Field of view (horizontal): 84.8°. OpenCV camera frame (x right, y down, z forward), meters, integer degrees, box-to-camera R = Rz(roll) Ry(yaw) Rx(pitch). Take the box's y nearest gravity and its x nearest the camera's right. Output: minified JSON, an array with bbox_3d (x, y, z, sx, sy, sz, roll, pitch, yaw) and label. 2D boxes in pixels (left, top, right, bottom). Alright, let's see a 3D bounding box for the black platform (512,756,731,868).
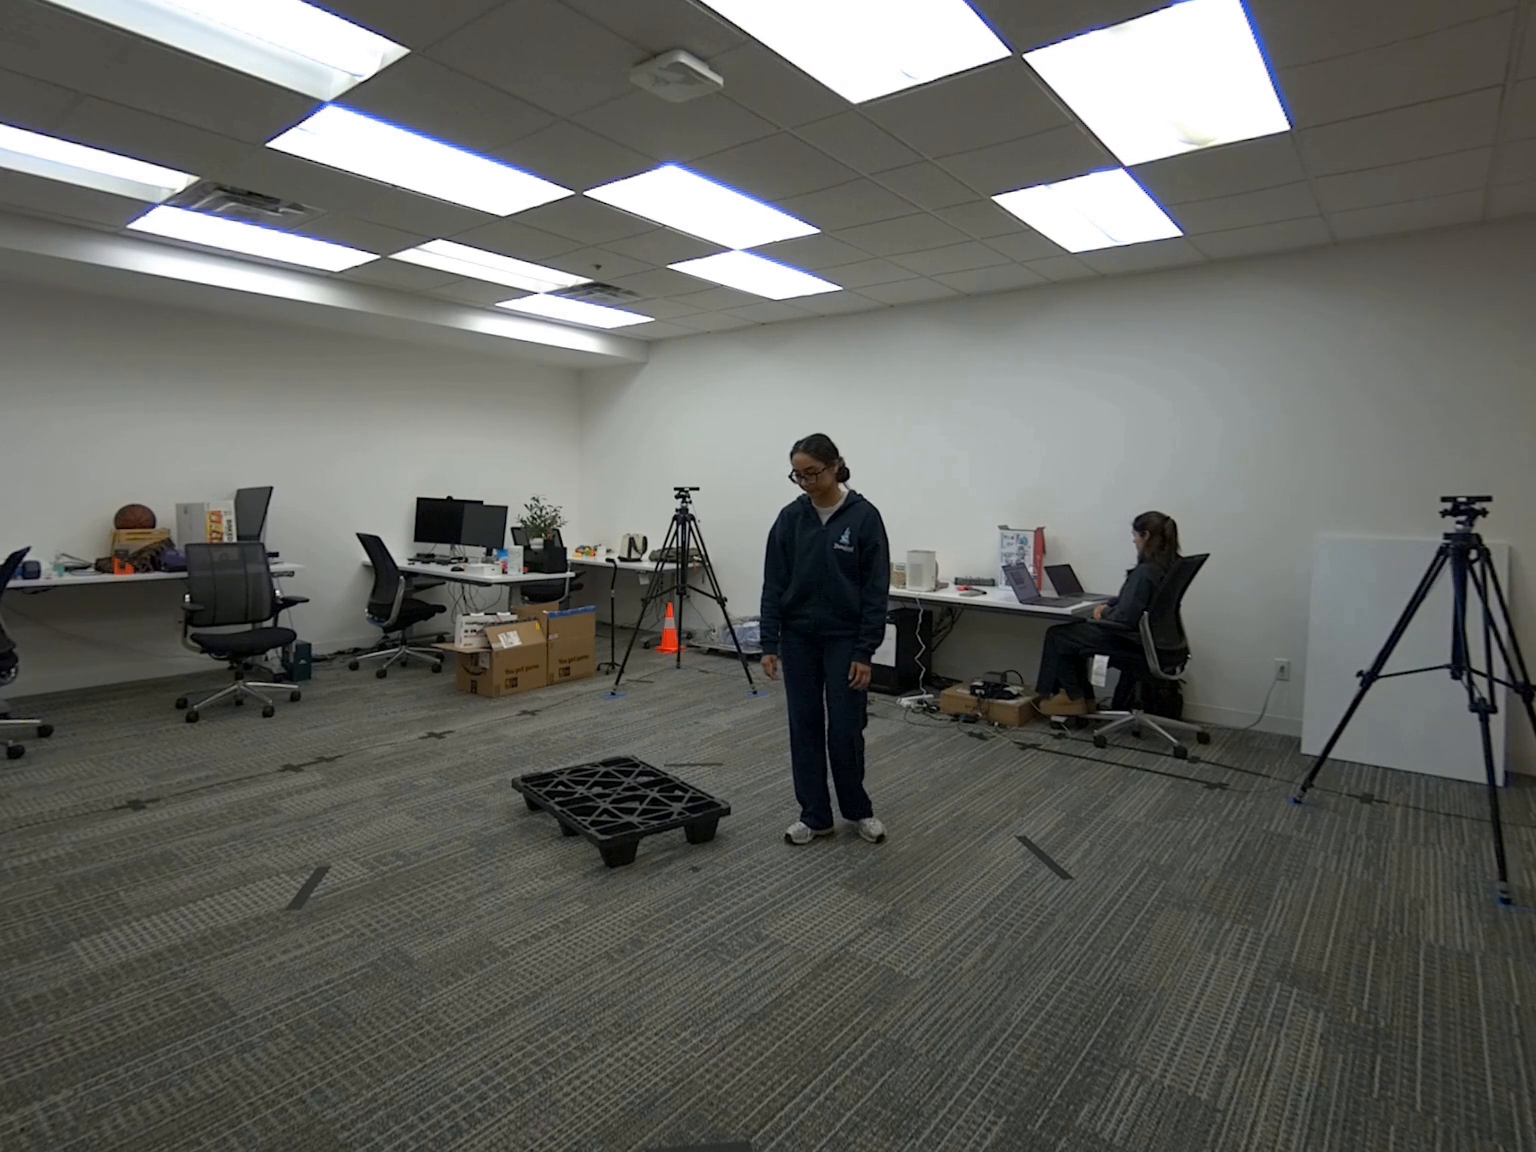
[{"bbox_3d":[-0.637,0.953,3.517,0.587,0.143,0.833,-4,7,-38],"label":"black platform"}]
